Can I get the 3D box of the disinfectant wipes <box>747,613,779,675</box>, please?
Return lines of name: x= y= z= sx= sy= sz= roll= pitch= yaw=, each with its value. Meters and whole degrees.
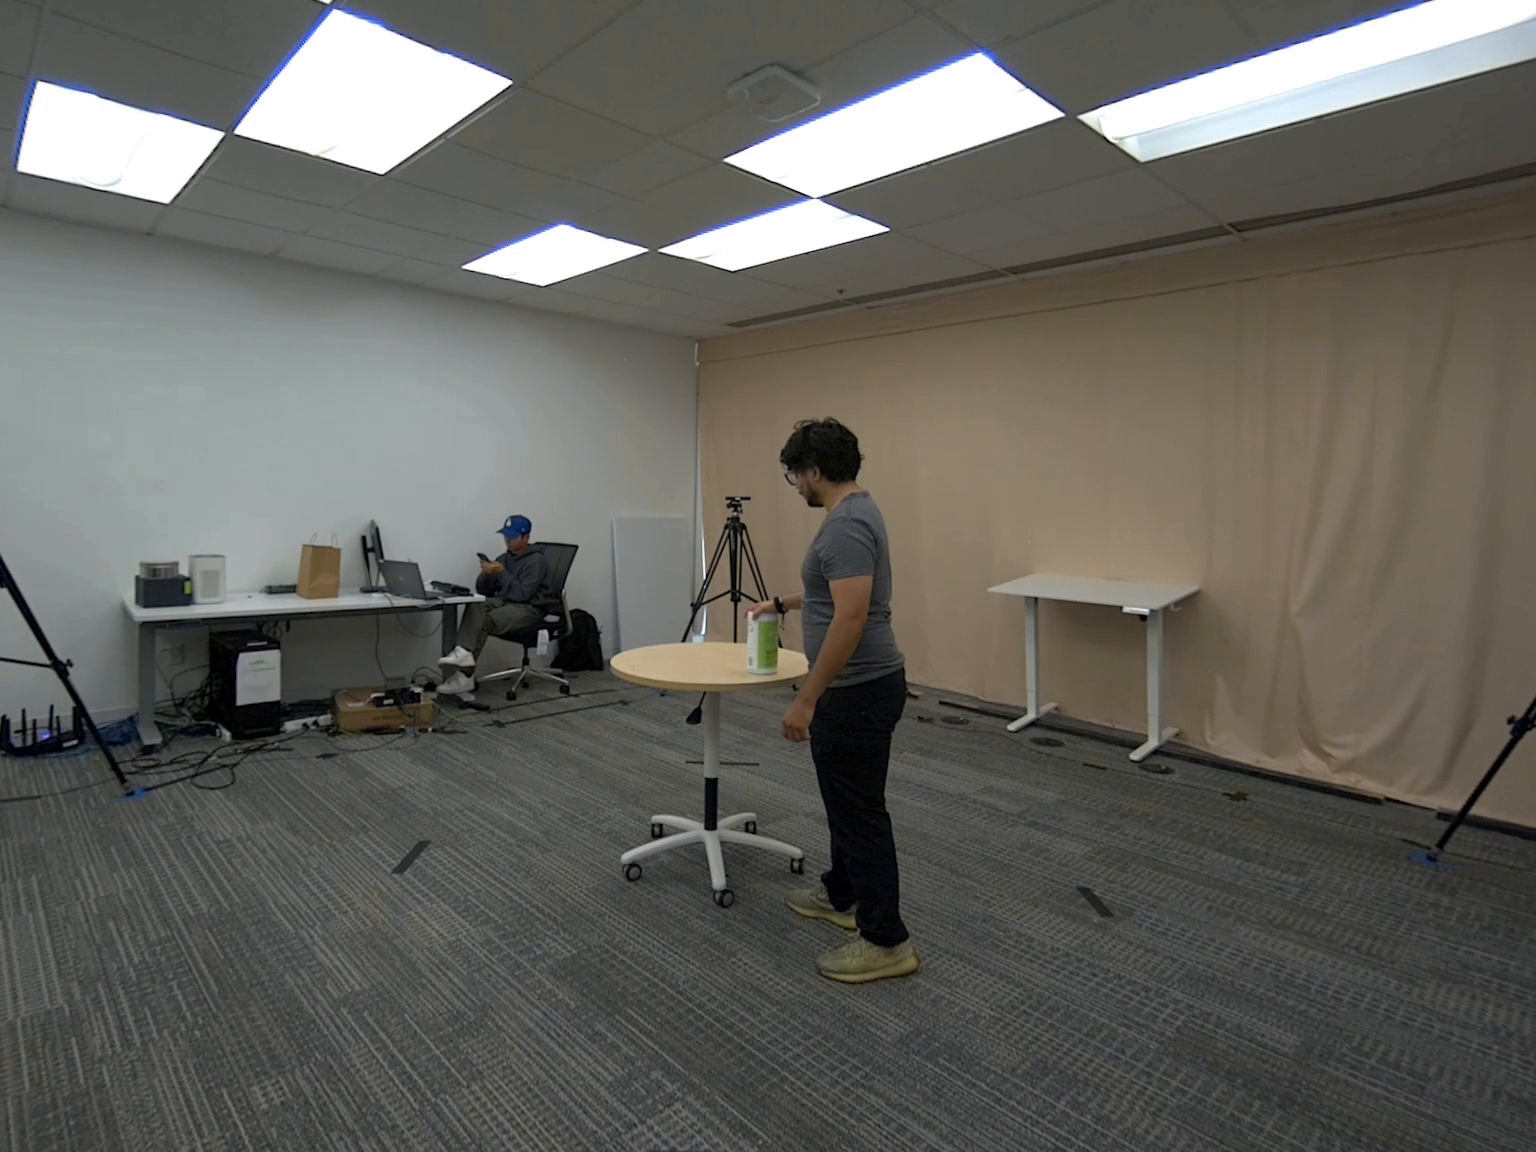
disinfectant wipes: x=-0.027 y=0.234 z=2.962 sx=0.118 sy=0.217 sz=0.118 roll=3 pitch=5 yaw=-2
